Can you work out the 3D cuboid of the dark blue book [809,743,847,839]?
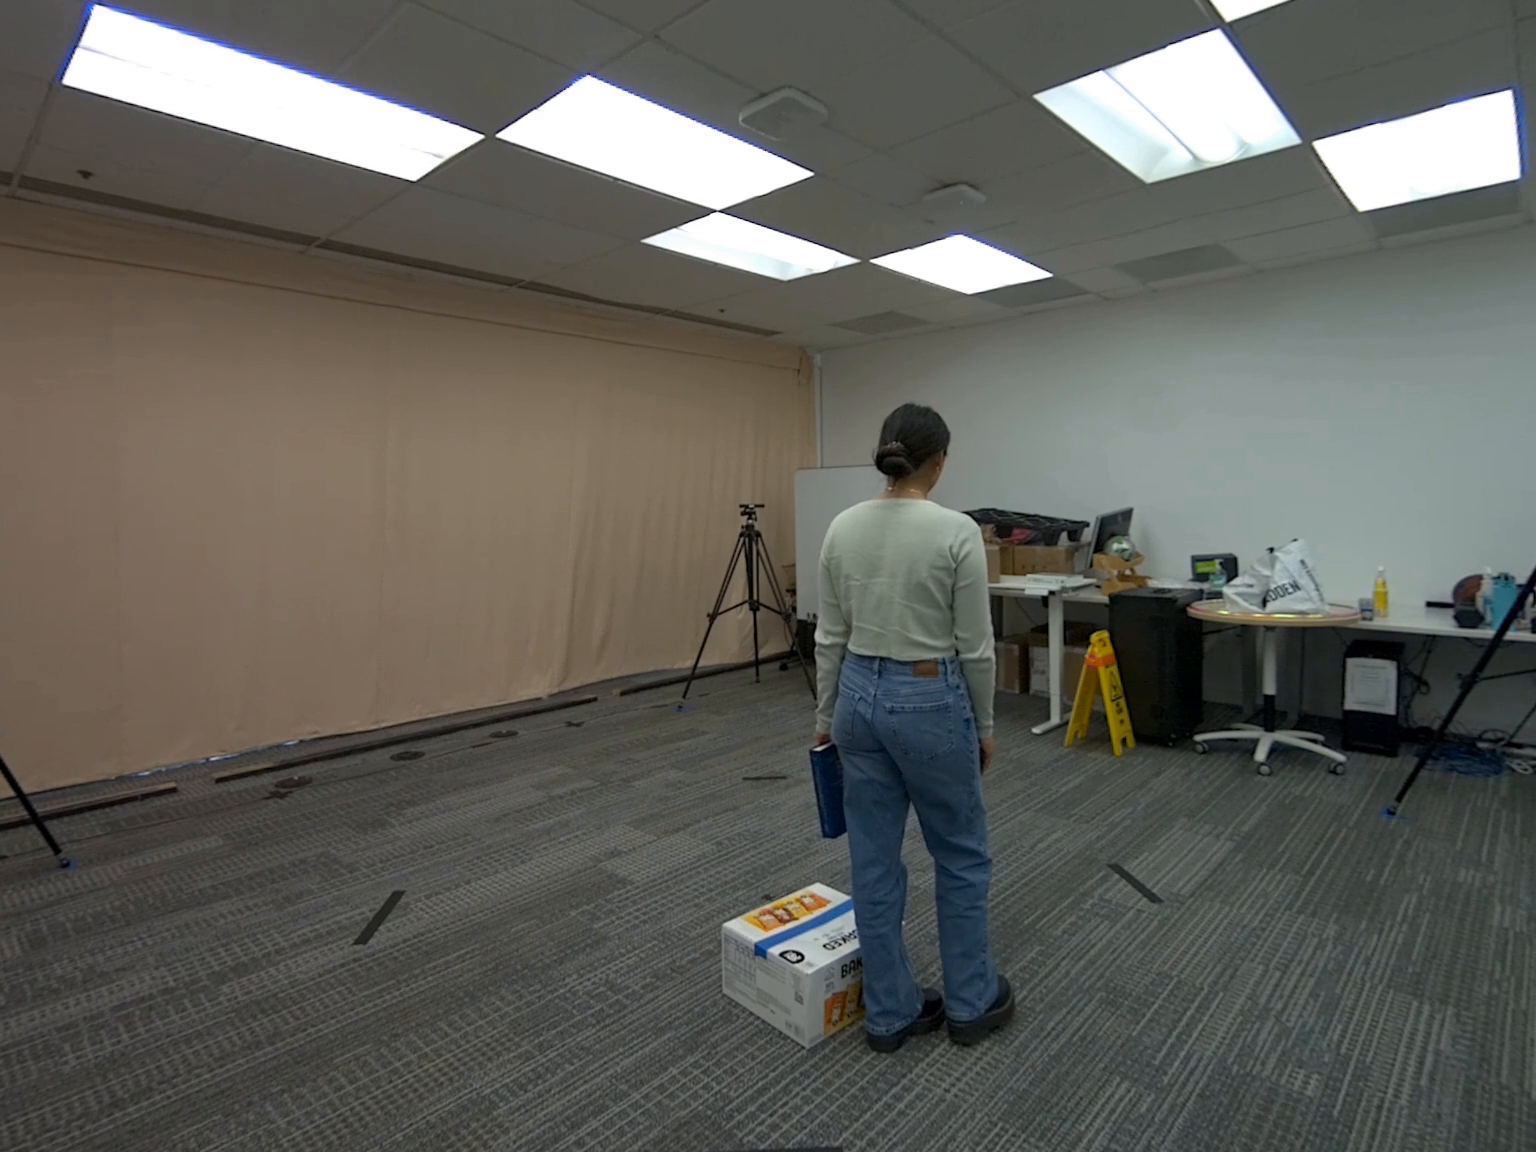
[{"bbox_3d":[0.205,0.587,2.345,0.046,0.245,0.159,-10,-1,43],"label":"dark blue book"}]
